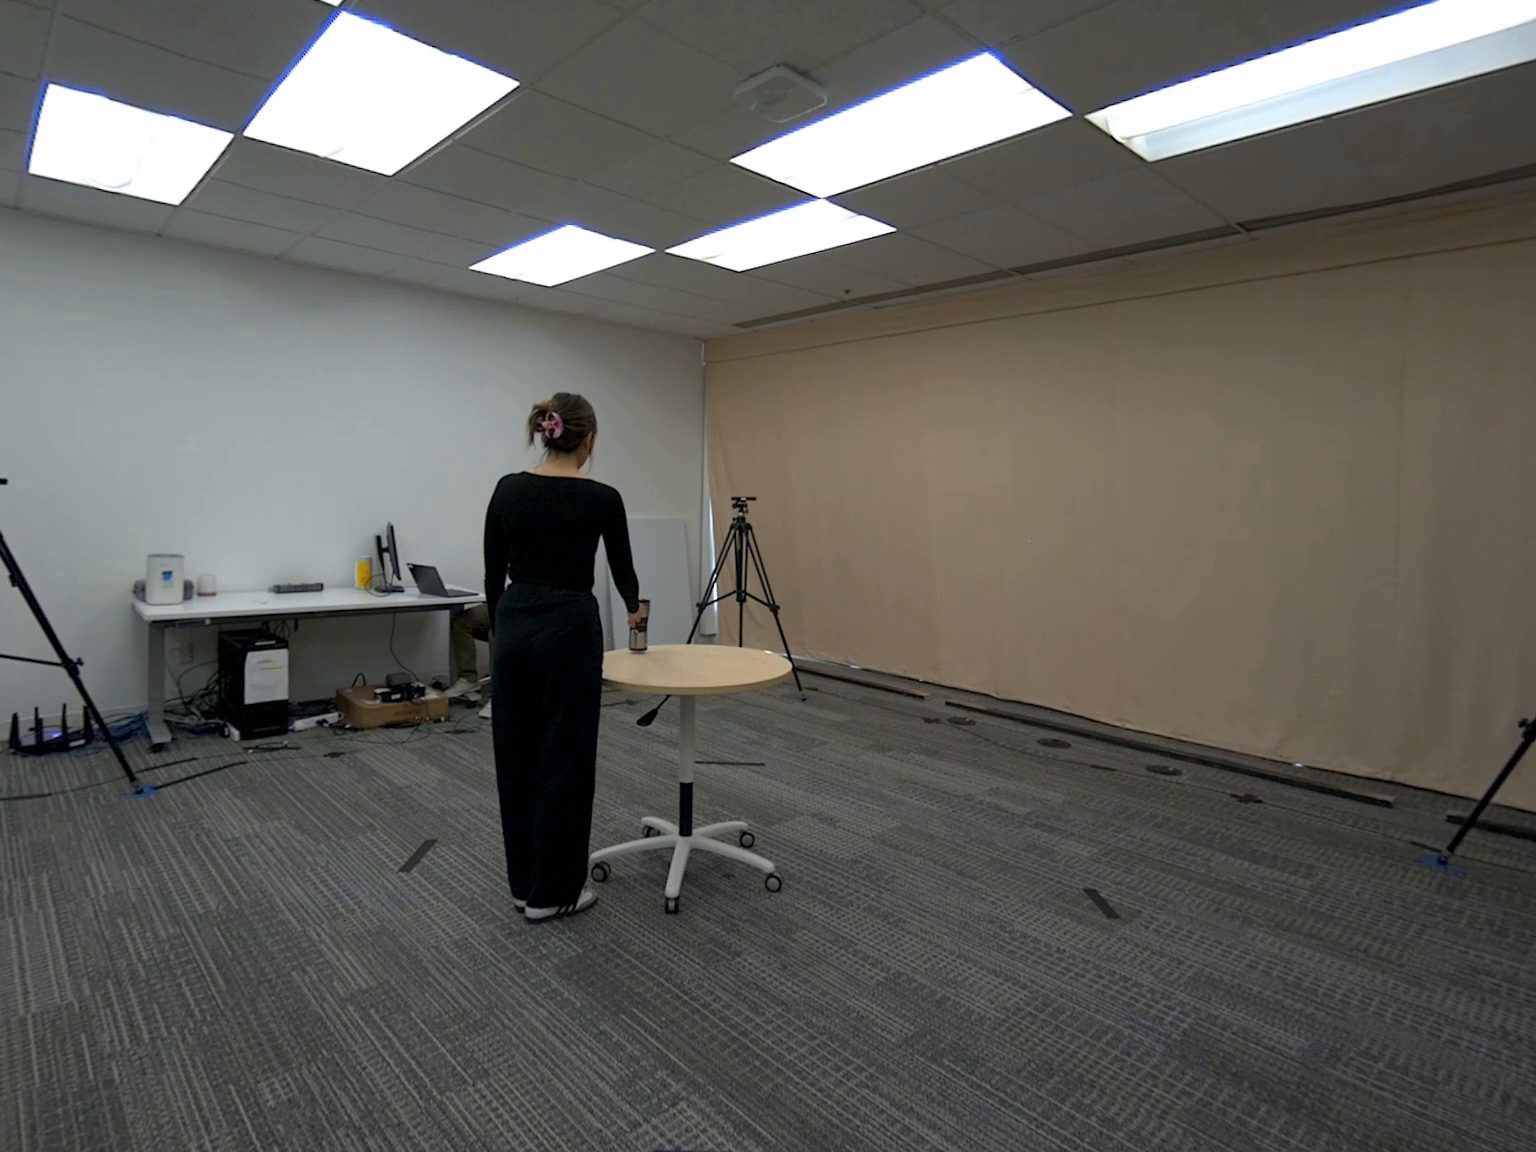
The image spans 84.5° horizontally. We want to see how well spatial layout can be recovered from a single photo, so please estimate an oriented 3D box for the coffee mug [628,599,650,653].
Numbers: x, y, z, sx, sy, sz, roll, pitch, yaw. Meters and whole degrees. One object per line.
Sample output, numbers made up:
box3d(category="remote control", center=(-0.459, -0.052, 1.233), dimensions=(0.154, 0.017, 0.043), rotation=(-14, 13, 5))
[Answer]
box3d(category="coffee mug", center=(-0.531, 0.188, 3.268), dimensions=(0.090, 0.202, 0.119), rotation=(8, 4, 44))
